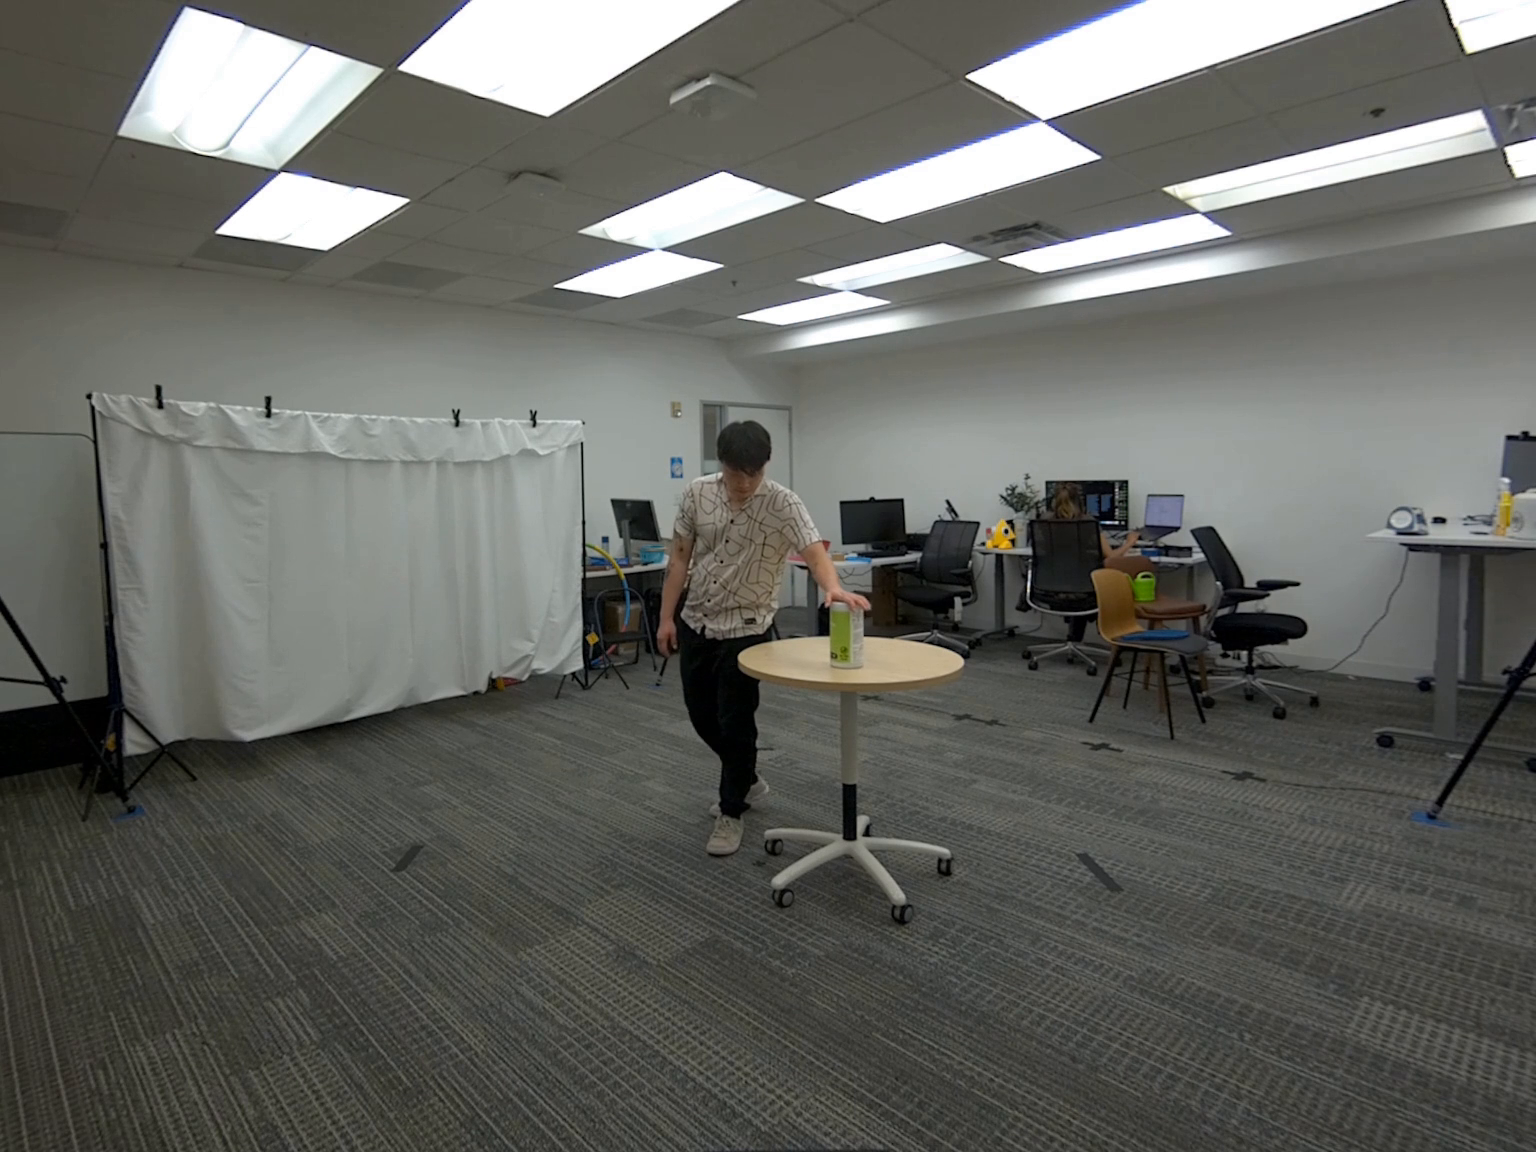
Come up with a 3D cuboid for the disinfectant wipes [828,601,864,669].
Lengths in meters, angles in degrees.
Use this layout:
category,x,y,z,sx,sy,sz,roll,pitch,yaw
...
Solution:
category,x,y,z,sx,sy,sz,roll,pitch,yaw
disinfectant wipes,0.266,0.191,2.800,0.118,0.216,0.118,-1,4,-2
